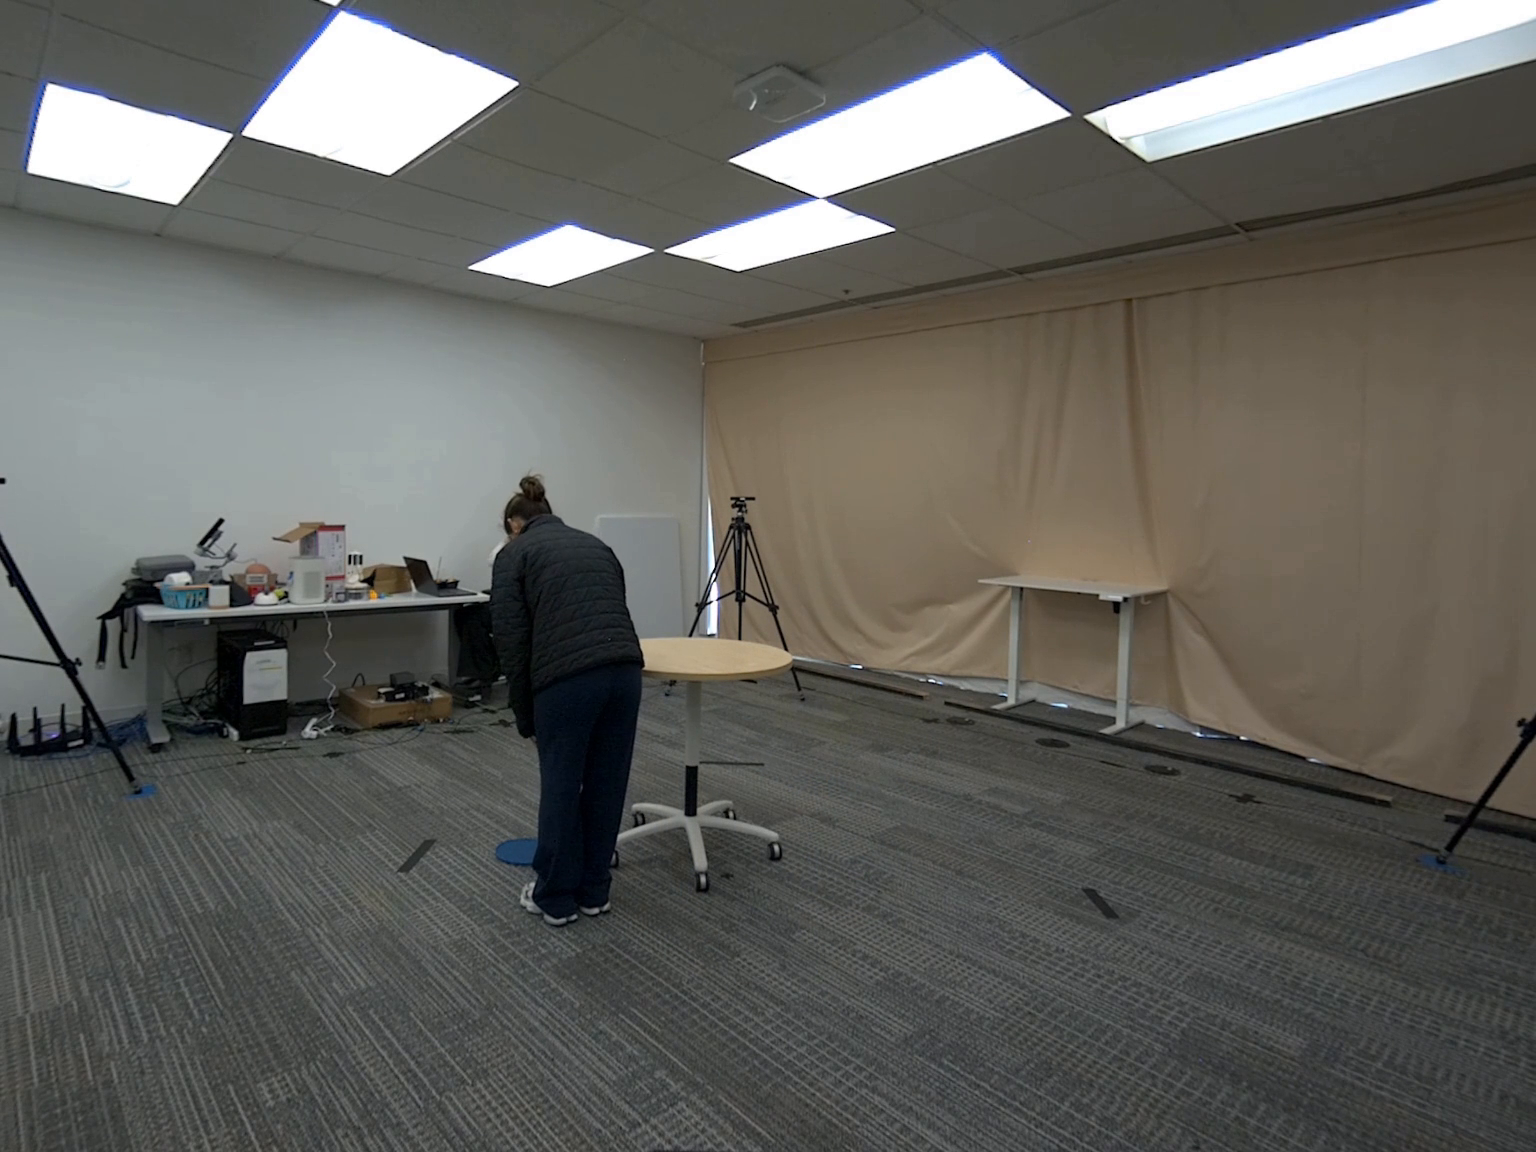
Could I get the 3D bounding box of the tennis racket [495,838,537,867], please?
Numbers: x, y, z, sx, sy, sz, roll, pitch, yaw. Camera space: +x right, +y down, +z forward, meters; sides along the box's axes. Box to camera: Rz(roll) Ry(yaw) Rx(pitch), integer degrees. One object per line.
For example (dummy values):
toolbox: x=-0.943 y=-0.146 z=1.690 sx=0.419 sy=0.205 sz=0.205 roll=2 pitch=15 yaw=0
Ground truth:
tennis racket: x=-0.880 y=1.070 z=3.178 sx=0.209 sy=0.032 sz=0.444 roll=-4 pitch=5 yaw=-44
